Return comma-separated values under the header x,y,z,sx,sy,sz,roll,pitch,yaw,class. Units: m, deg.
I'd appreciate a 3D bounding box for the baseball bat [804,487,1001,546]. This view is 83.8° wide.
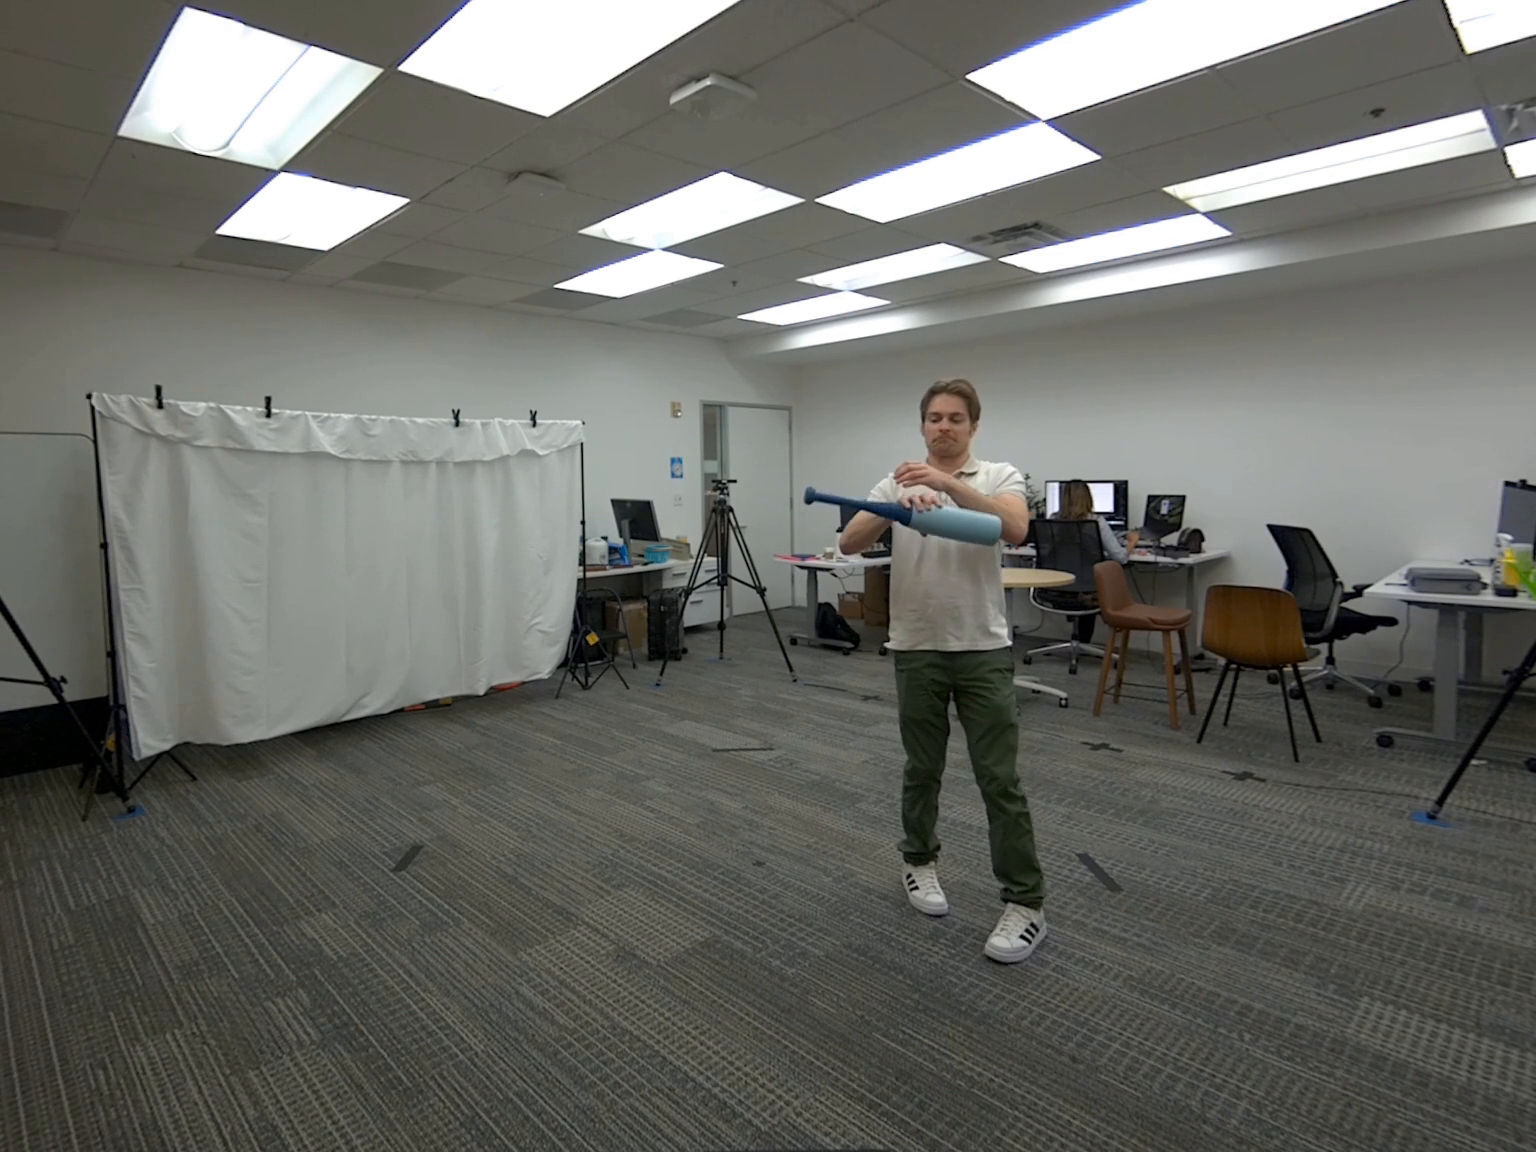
x,y,z,sx,sy,sz,roll,pitch,yaw,class
0.371,-0.168,2.339,0.541,0.089,0.089,10,4,-4,baseball bat
